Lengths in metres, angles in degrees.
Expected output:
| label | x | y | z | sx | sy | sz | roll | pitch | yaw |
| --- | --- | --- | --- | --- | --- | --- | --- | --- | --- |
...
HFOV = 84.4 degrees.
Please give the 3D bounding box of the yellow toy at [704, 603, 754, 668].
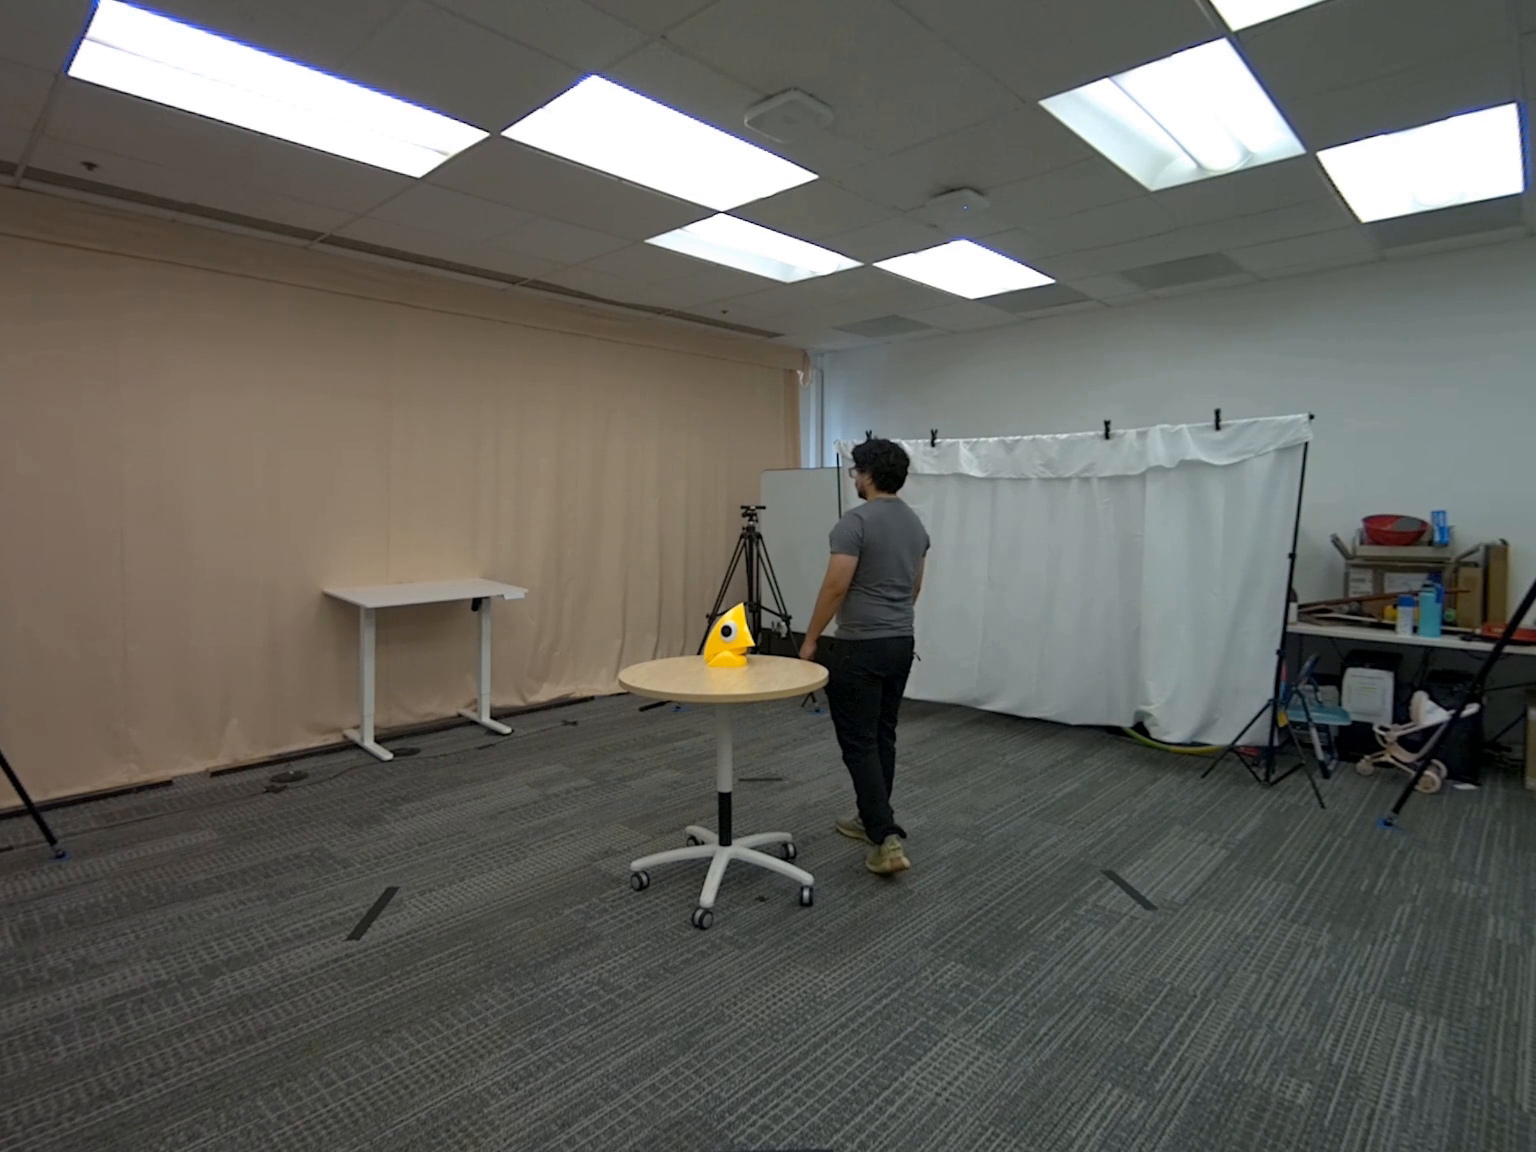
| label | x | y | z | sx | sy | sz | roll | pitch | yaw |
| --- | --- | --- | --- | --- | --- | --- | --- | --- | --- |
| yellow toy | -0.153 | 0.225 | 3.281 | 0.191 | 0.230 | 0.207 | -1 | 3 | -8 |
